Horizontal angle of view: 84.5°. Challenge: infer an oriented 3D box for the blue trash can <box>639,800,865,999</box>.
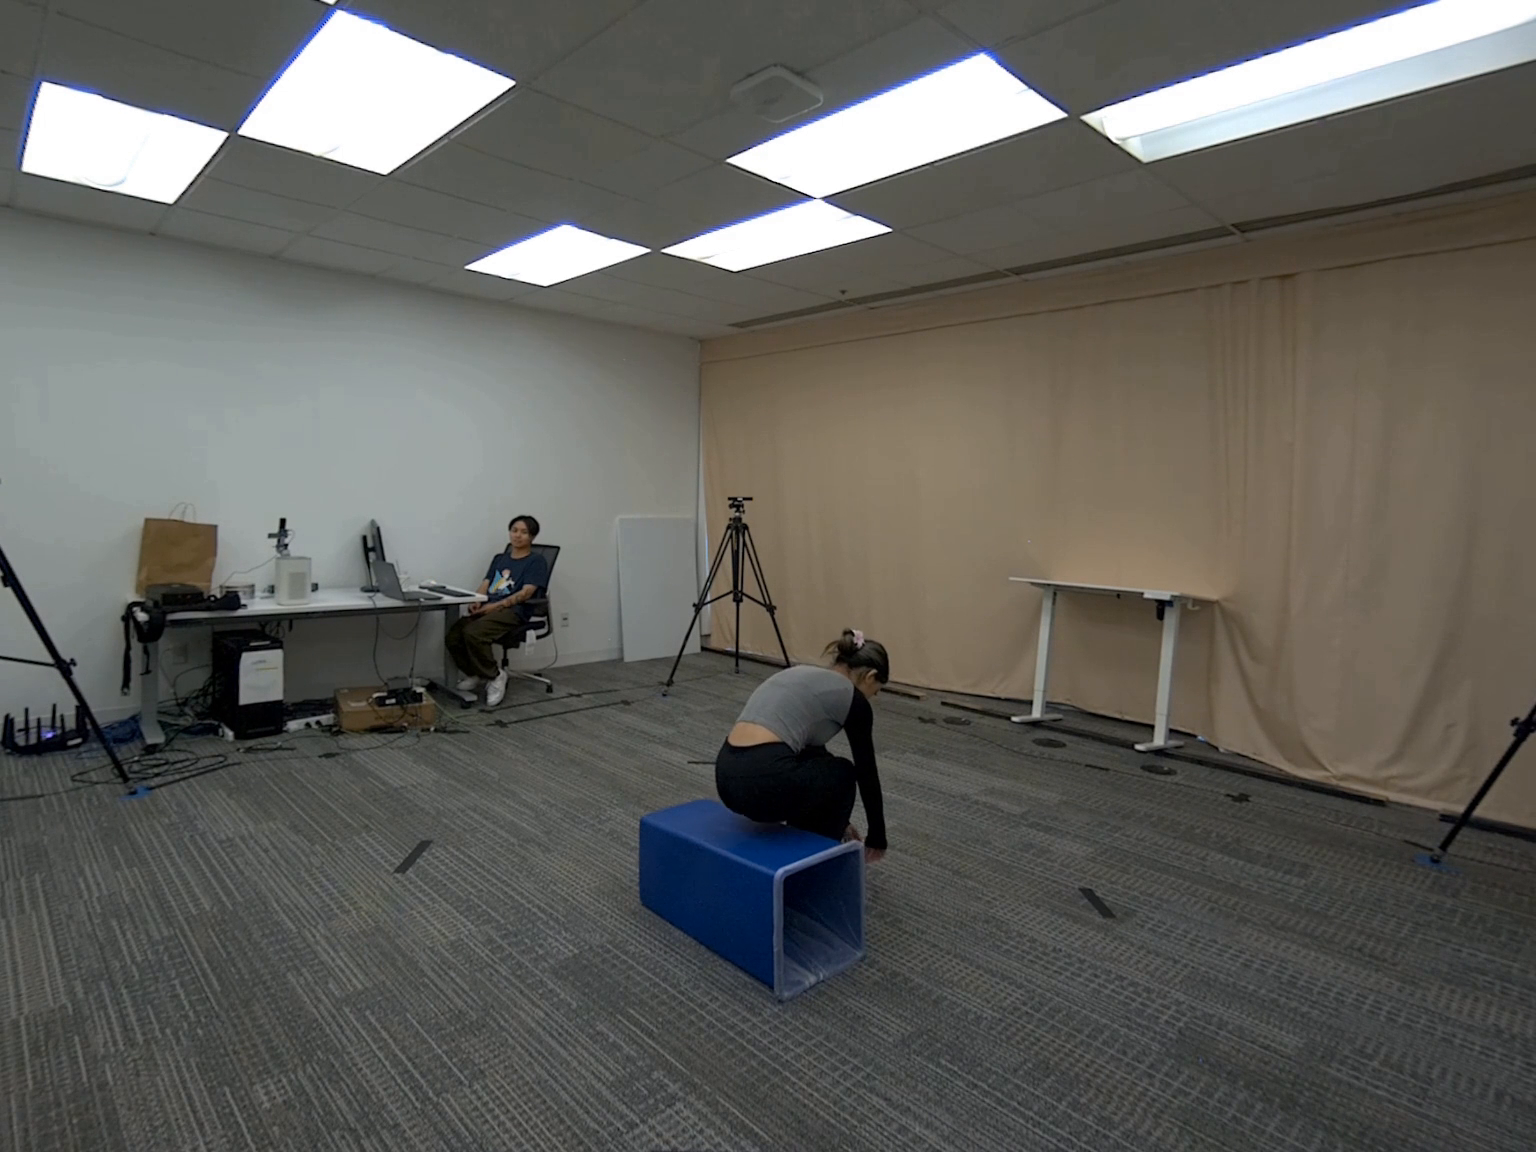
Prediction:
[{"bbox_3d":[-0.094,0.971,2.696,0.369,0.373,0.731,-3,5,-43],"label":"blue trash can"}]
